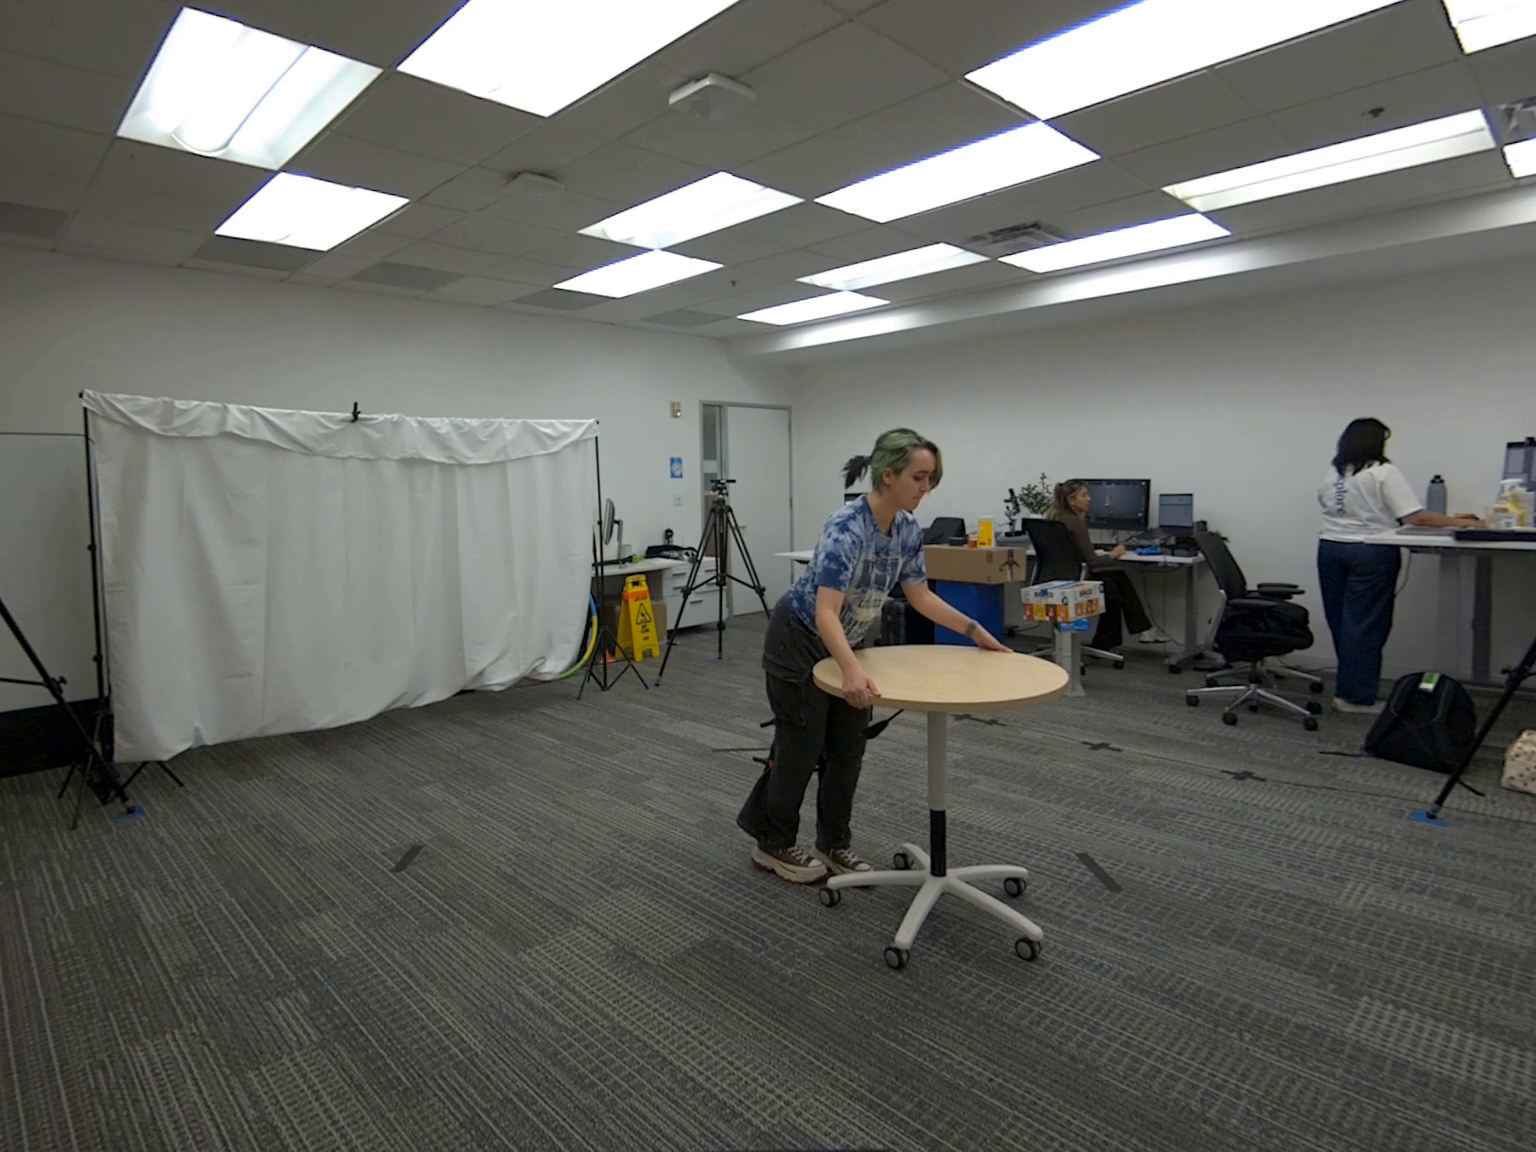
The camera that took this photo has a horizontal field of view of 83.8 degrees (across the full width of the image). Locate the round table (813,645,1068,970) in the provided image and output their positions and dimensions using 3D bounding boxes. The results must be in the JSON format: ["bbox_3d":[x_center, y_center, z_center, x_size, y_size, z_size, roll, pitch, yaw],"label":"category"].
[{"bbox_3d":[0.544,0.694,2.677,0.763,0.790,0.768,-1,5,-2],"label":"round table"}]
